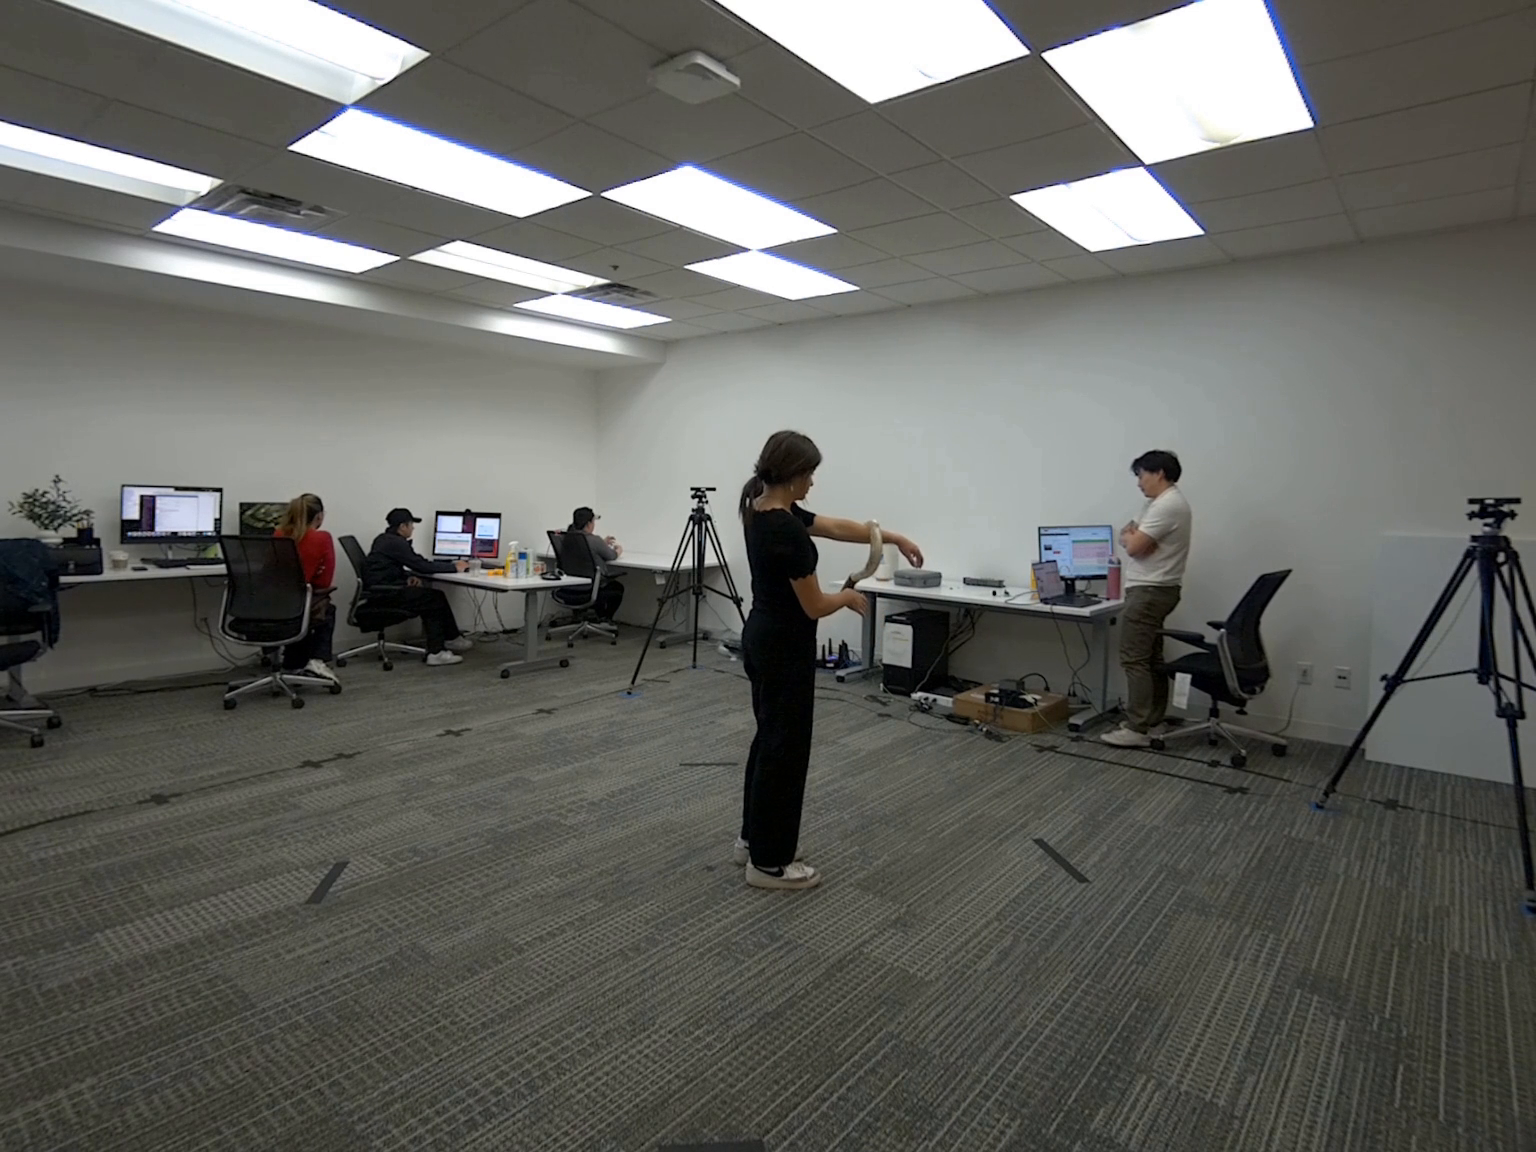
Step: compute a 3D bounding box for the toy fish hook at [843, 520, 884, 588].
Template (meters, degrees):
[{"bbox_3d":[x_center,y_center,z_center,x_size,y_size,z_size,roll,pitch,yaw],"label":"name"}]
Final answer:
[{"bbox_3d":[0.358,-0.050,3.324,0.048,0.229,0.501,9,-28,-11],"label":"toy fish hook"}]
